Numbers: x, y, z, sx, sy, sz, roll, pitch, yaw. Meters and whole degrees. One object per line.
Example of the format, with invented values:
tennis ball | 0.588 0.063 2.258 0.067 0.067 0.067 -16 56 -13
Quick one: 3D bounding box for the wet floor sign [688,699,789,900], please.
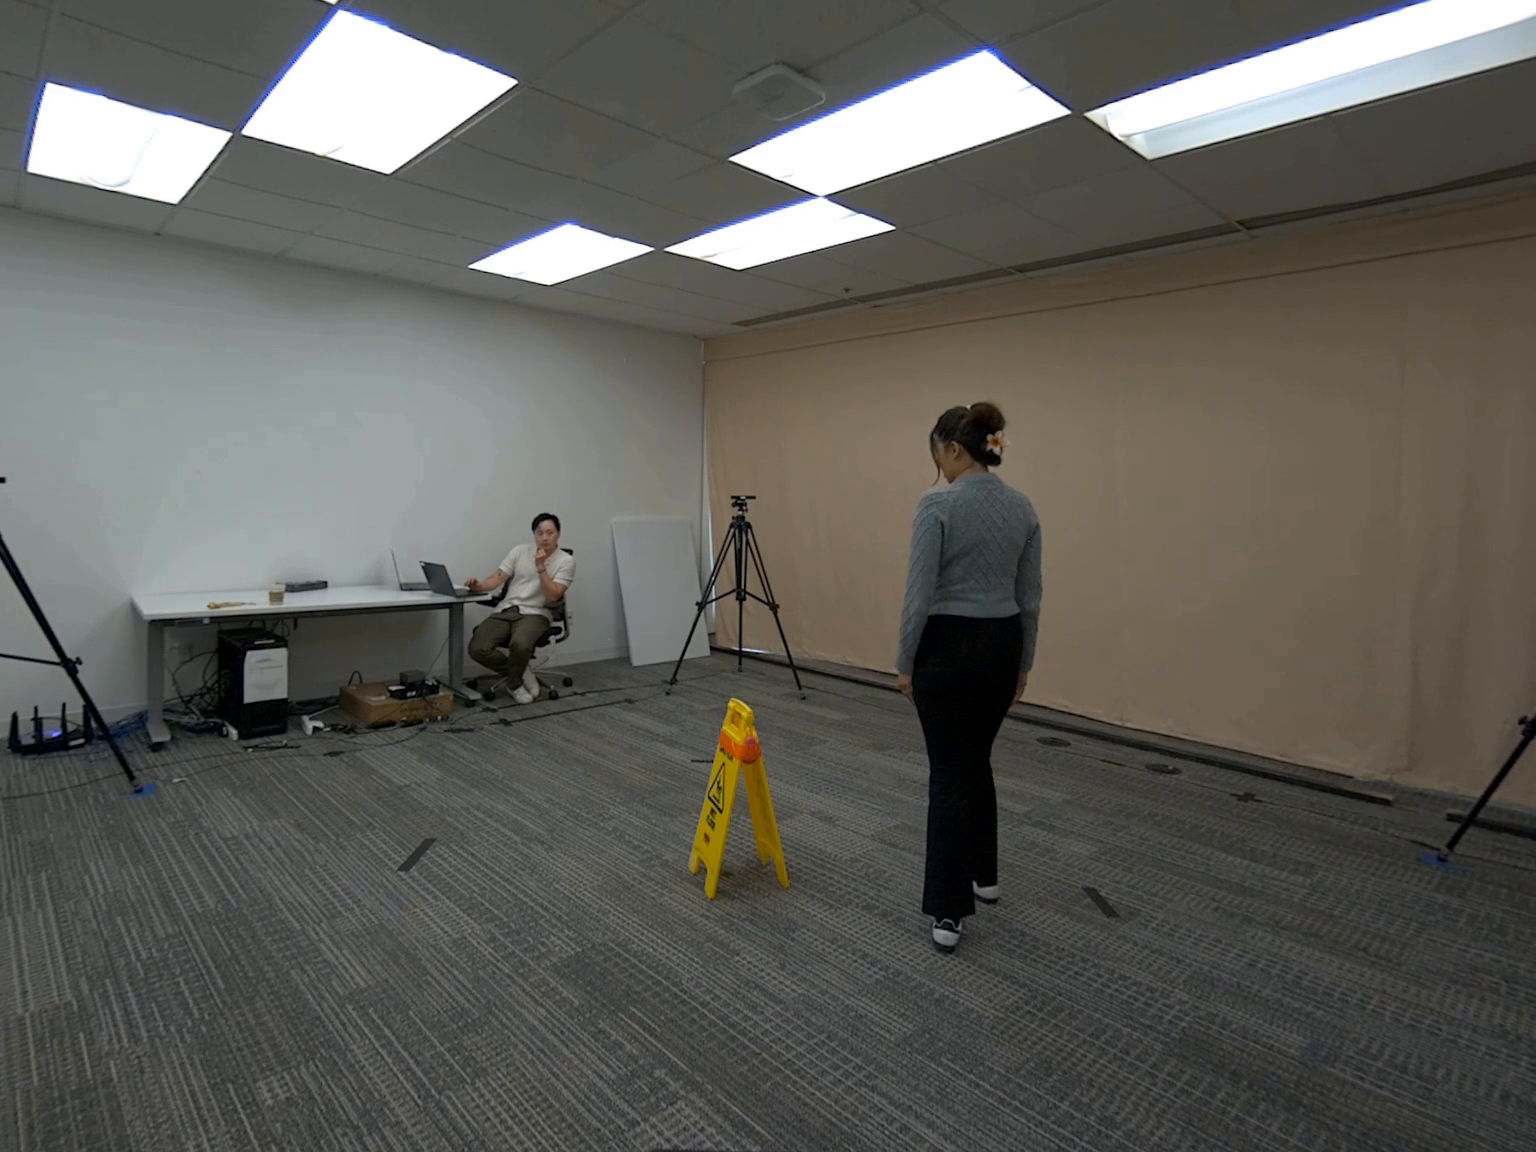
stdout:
wet floor sign | -0.112 0.778 3.062 0.285 0.645 0.287 -1 2 -21
